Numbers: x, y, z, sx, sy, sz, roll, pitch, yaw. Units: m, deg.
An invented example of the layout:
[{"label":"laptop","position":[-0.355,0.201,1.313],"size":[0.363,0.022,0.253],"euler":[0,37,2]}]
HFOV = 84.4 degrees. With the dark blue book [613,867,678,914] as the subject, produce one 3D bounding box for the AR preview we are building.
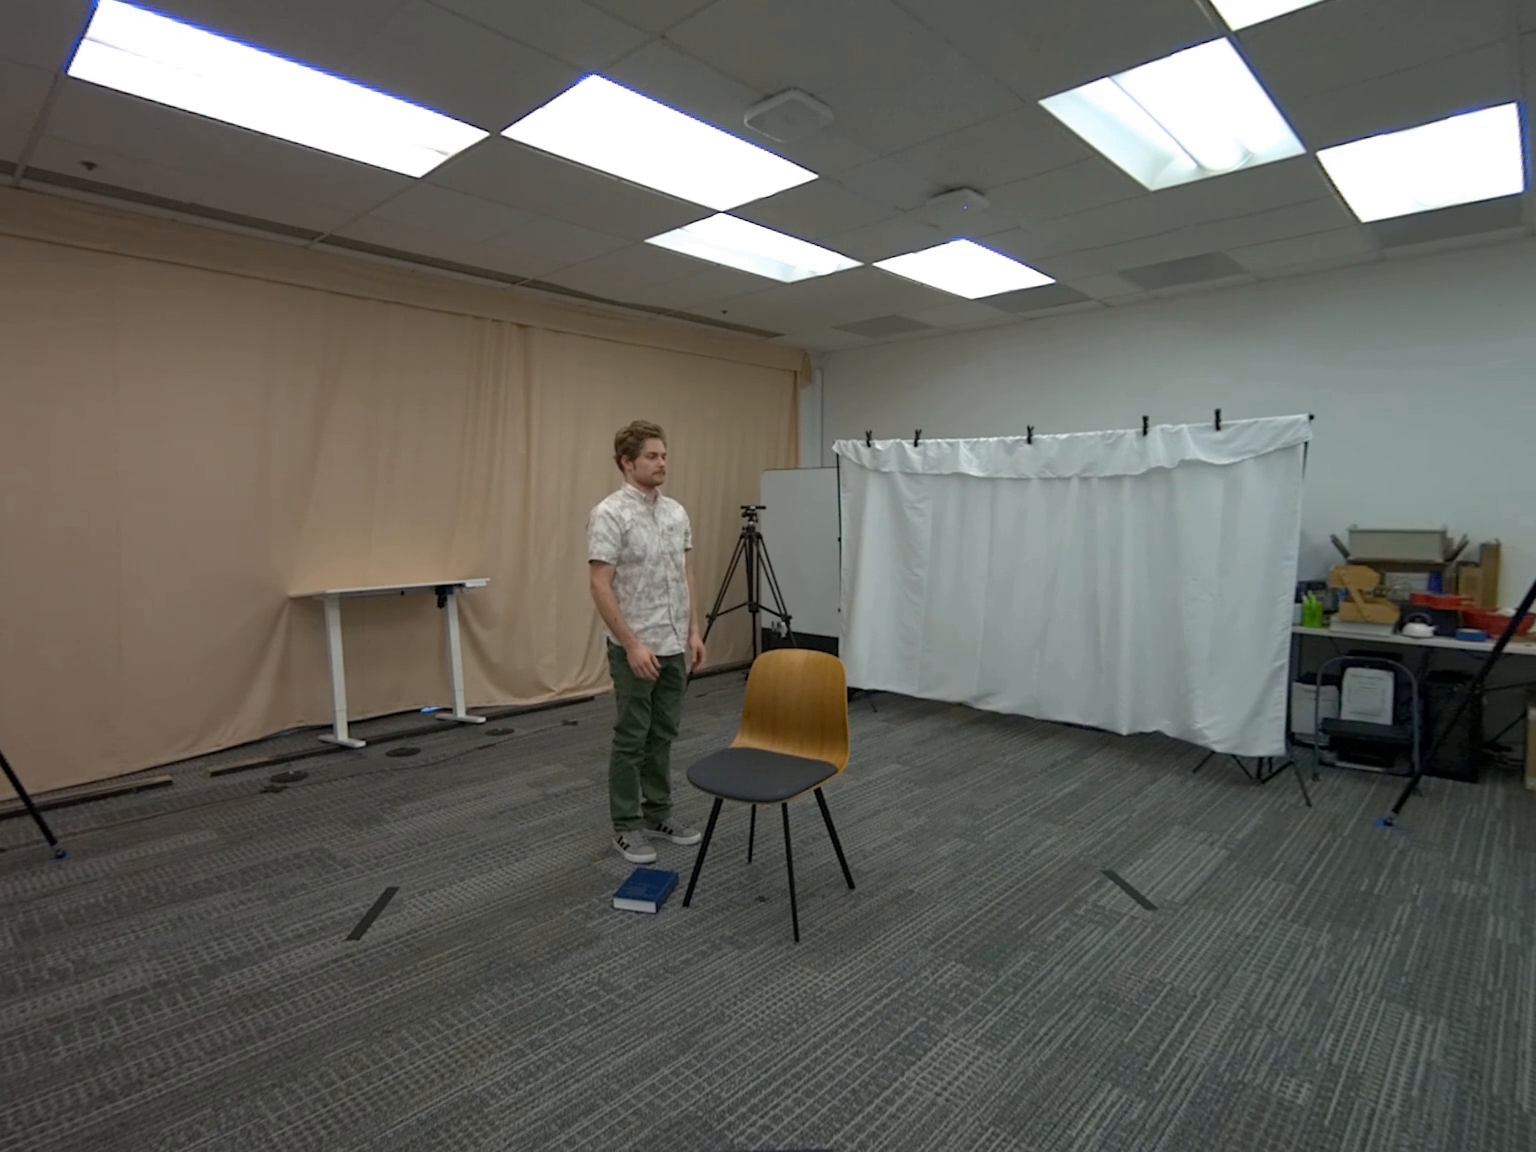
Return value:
[{"label":"dark blue book","position":[-0.435,1.116,3.010],"size":[0.166,0.045,0.242],"euler":[0,5,14]}]
